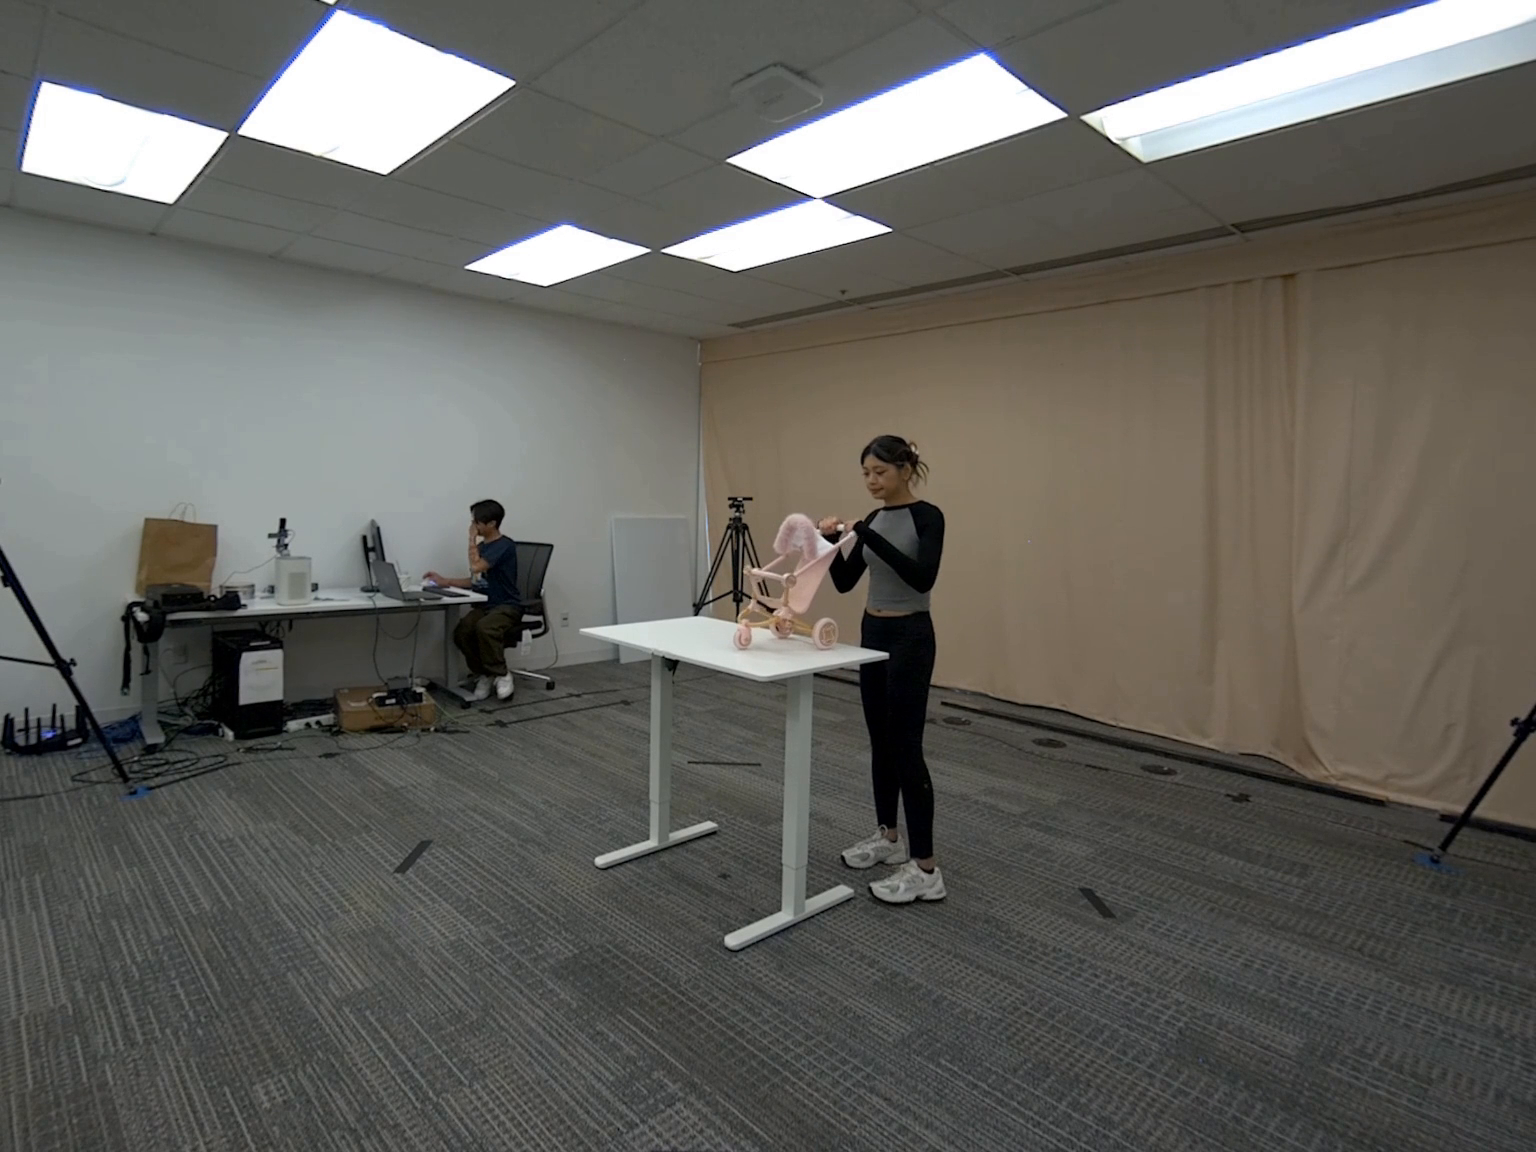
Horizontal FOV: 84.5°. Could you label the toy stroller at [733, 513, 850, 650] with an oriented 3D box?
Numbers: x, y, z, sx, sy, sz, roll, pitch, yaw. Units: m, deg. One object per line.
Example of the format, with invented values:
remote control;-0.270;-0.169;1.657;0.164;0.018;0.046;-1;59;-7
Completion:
toy stroller;0.075;0.022;2.939;0.333;0.536;0.288;18;-4;-30
